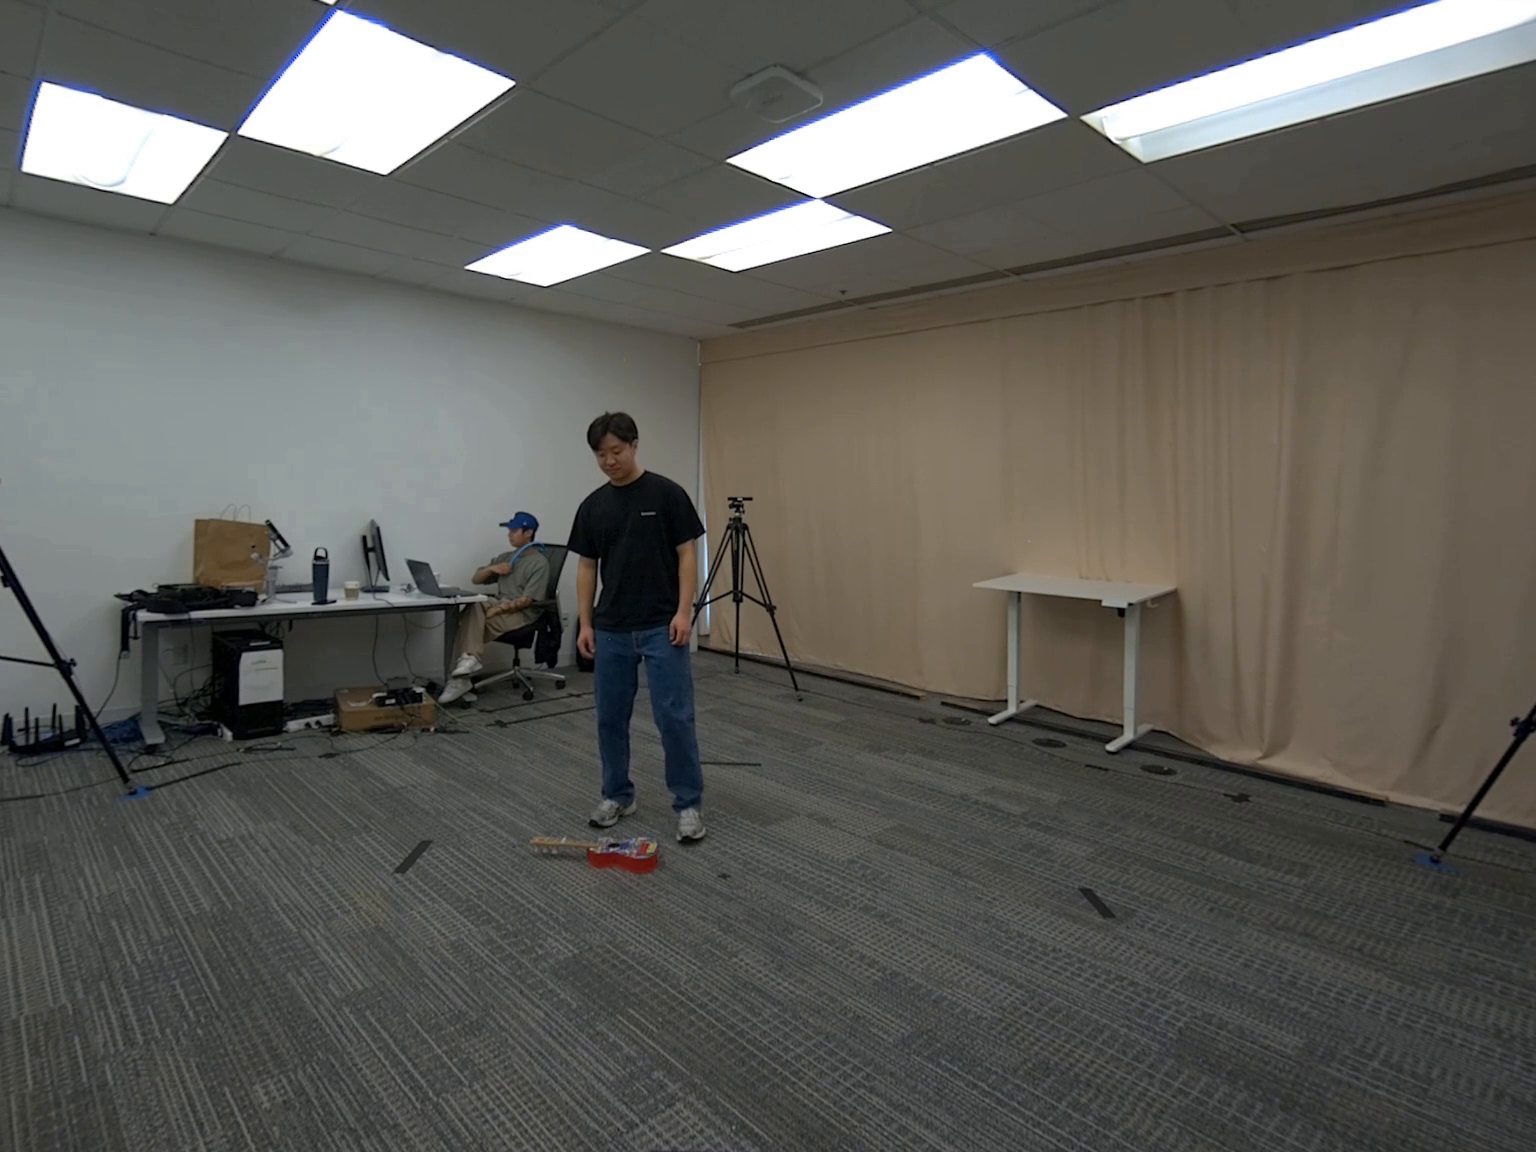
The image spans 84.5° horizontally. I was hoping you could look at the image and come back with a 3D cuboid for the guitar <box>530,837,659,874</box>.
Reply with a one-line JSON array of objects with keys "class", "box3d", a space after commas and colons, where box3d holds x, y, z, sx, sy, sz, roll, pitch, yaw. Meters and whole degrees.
[{"class": "guitar", "box3d": [-0.669, 1.049, 3.241, 0.503, 0.070, 0.191, 3, 6, 13]}]
